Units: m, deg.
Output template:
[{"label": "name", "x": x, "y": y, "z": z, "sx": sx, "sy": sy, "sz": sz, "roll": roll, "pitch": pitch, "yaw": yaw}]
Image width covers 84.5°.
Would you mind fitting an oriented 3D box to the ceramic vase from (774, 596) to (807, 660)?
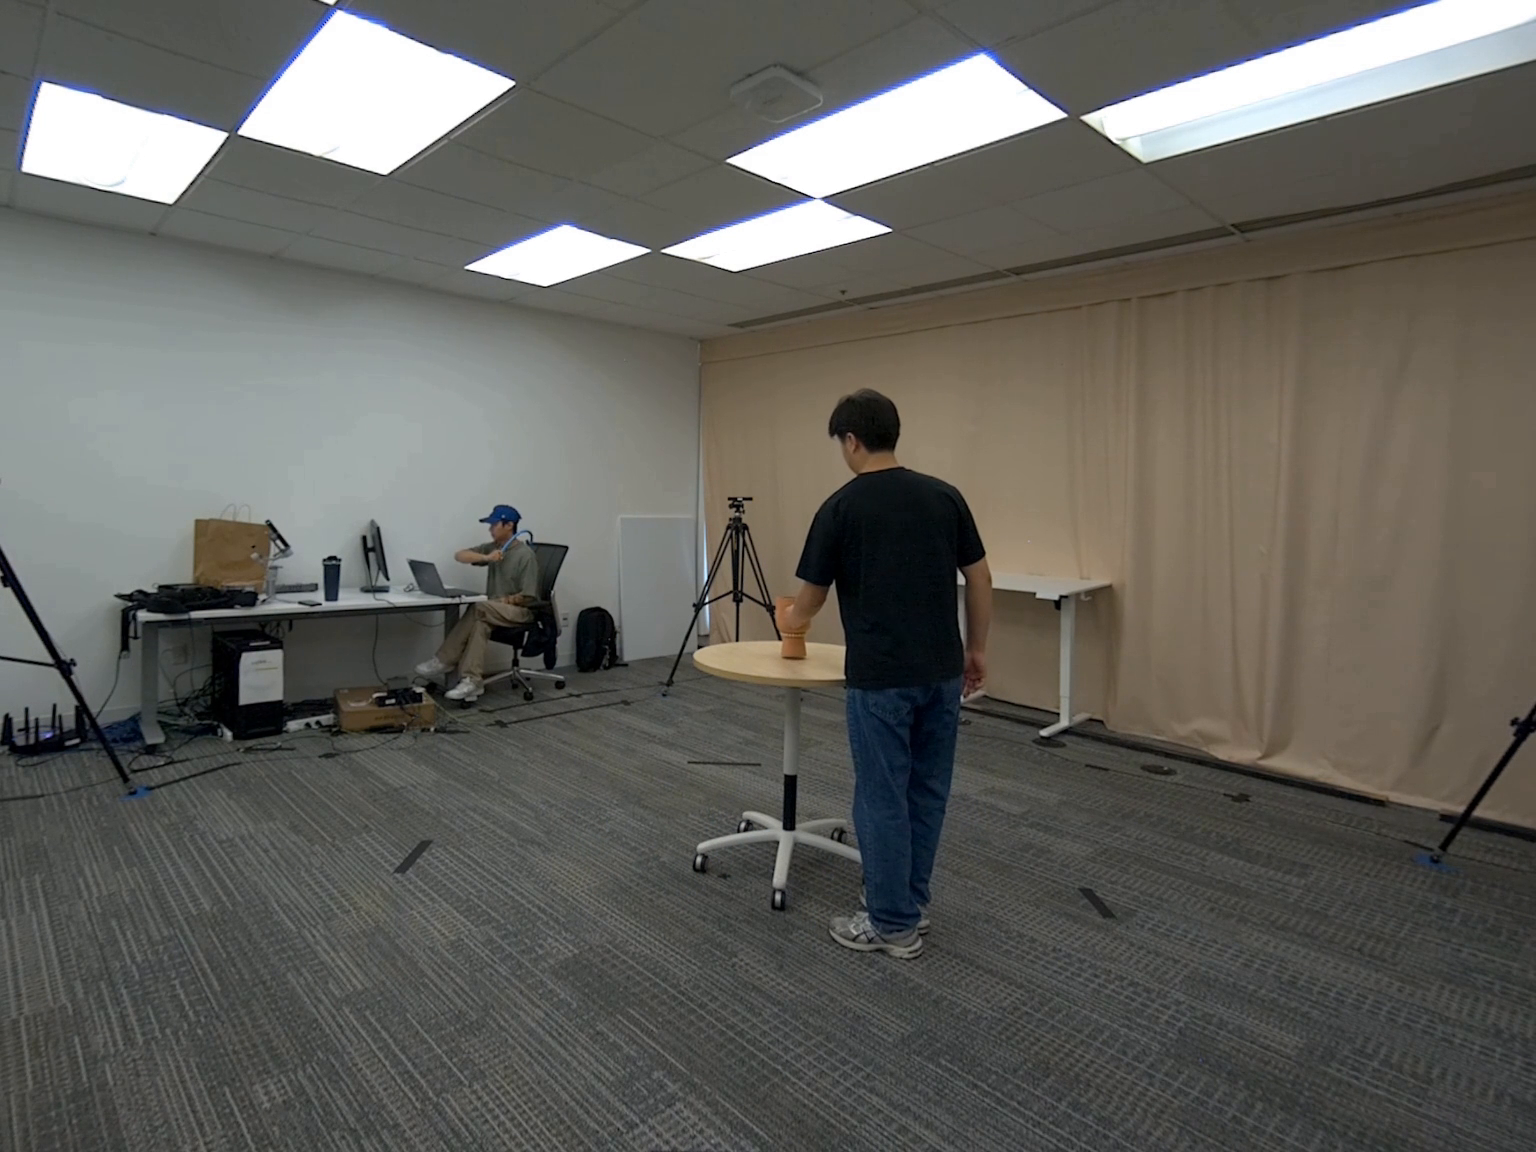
[{"label": "ceramic vase", "x": 0.082, "y": 0.190, "z": 3.177, "sx": 0.138, "sy": 0.220, "sz": 0.155, "roll": 1, "pitch": 1, "yaw": 38}]
